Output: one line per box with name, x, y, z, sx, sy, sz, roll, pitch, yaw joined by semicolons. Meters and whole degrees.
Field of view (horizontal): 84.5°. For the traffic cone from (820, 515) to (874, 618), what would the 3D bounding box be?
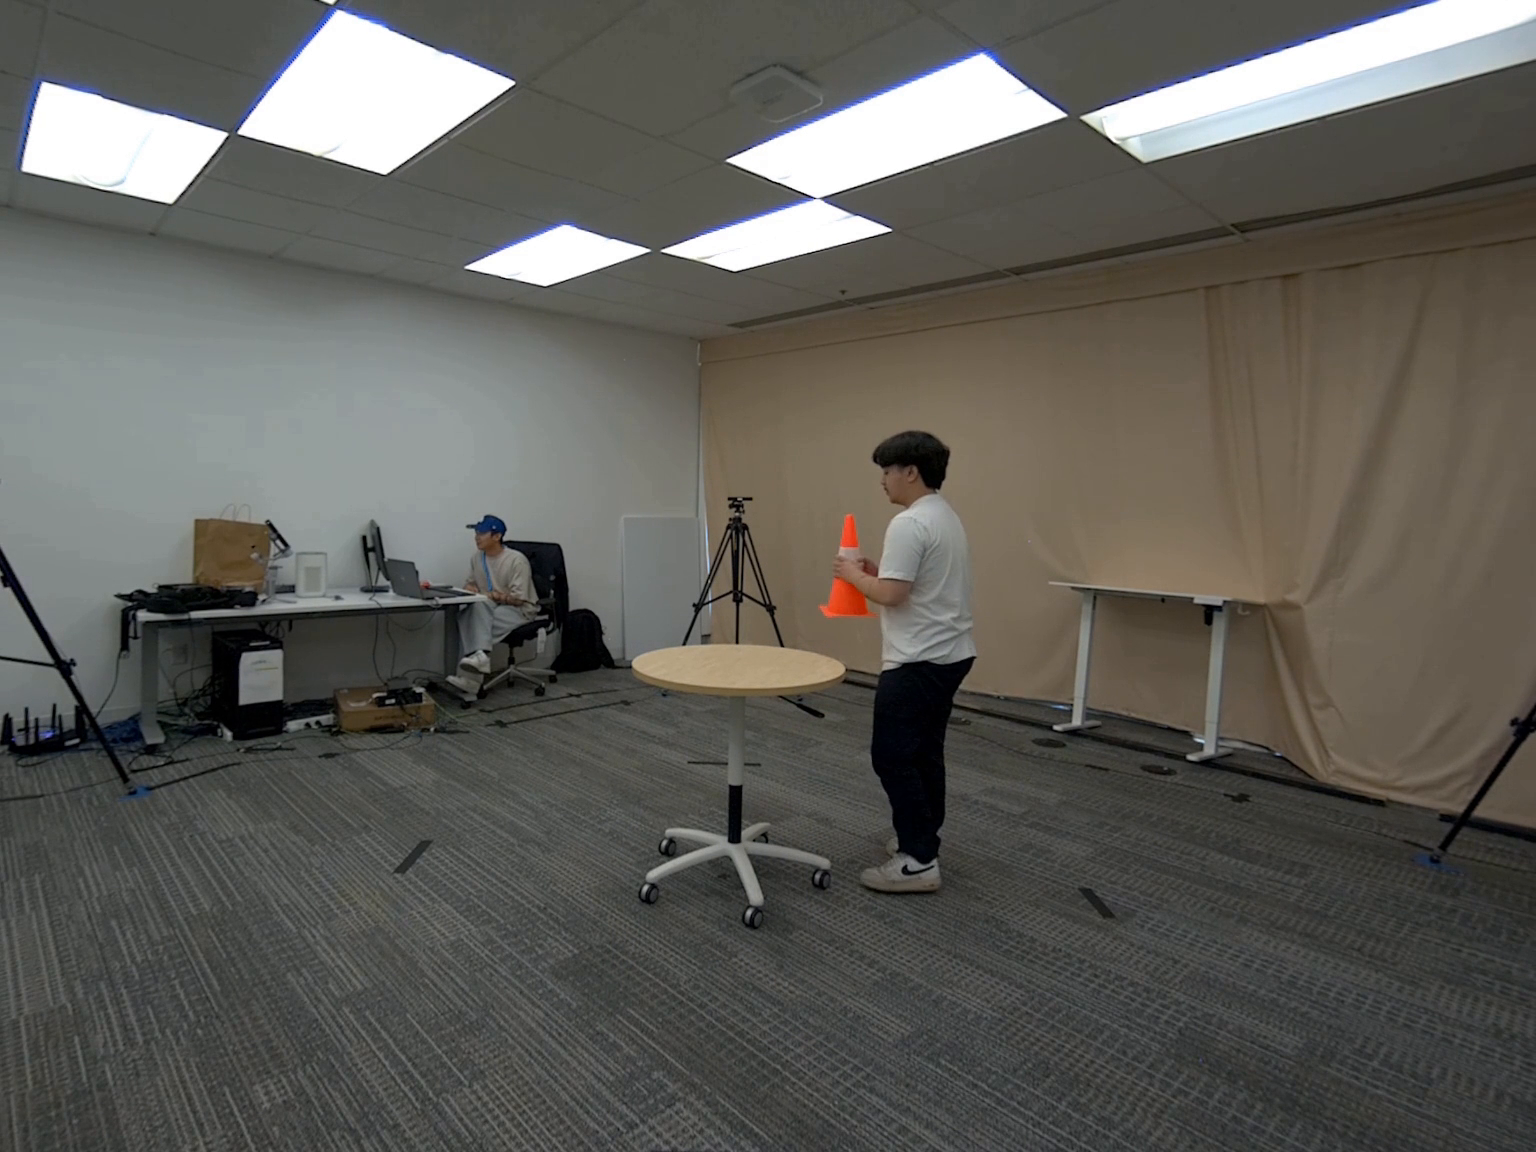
traffic cone;0.326;-0.046;3.303;0.207;0.382;0.202;3;5;21
